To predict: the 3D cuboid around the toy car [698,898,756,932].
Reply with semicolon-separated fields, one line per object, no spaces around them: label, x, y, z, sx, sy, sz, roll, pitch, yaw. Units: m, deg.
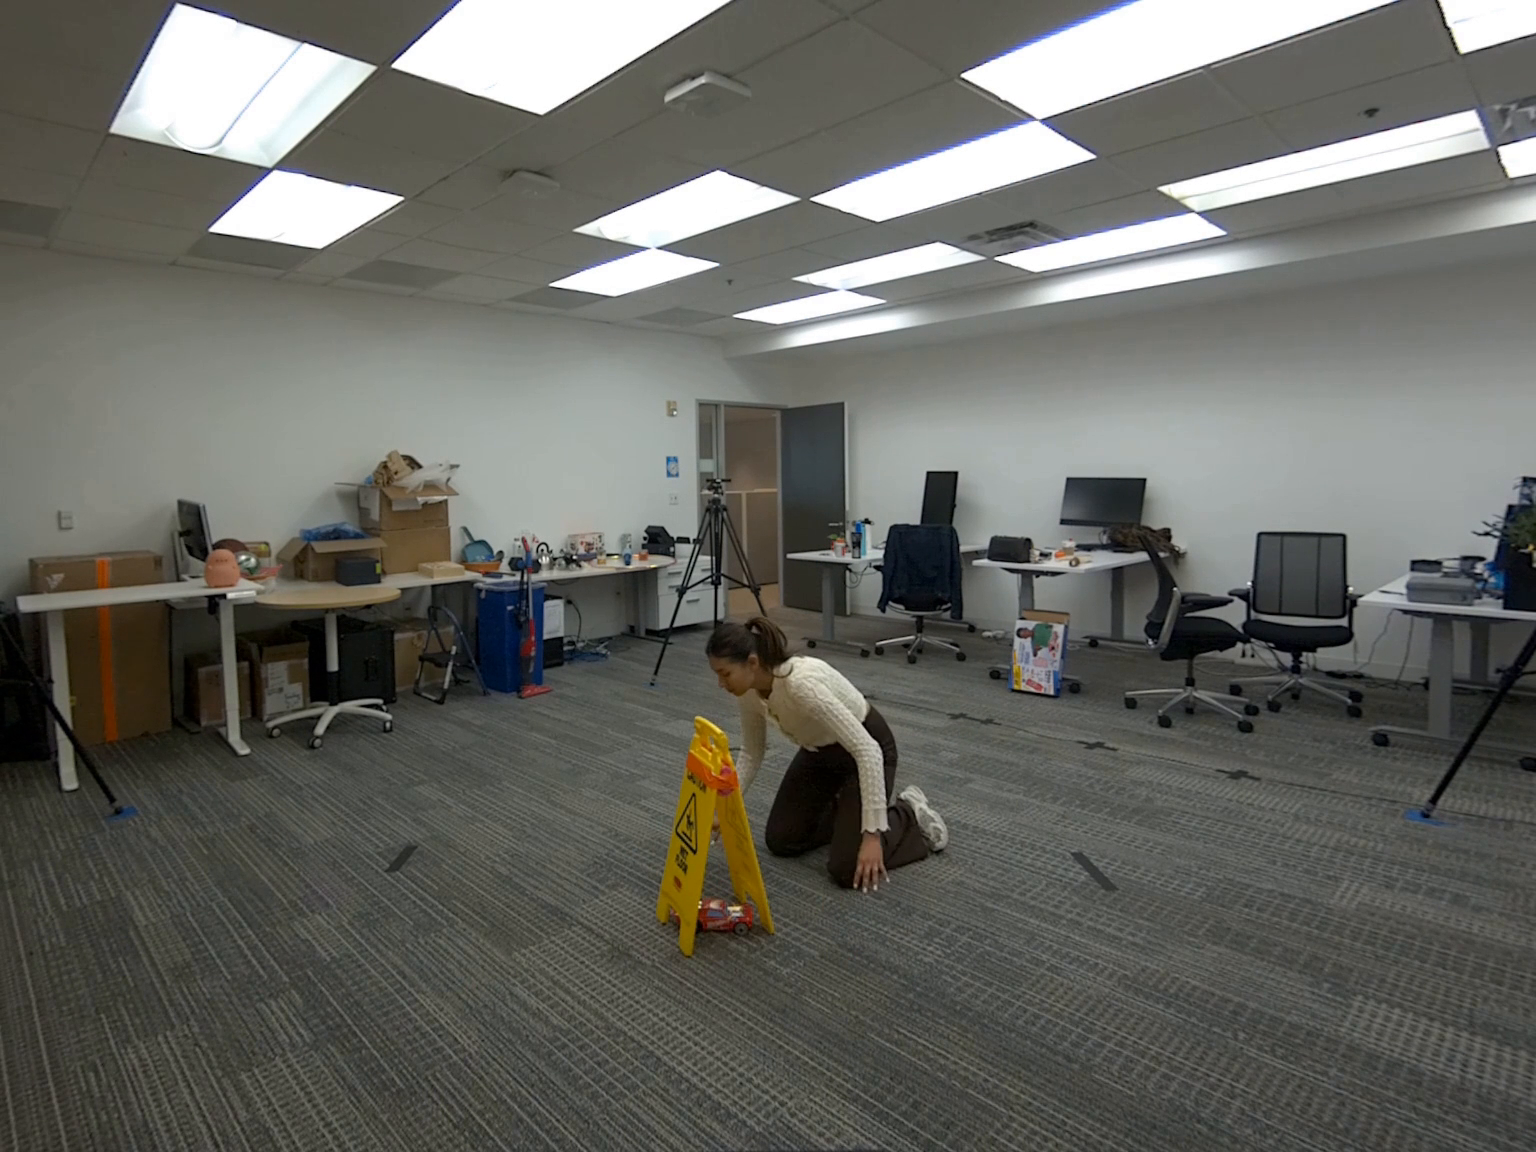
toy car;-0.175;1.059;2.681;0.255;0.083;0.130;10;5;3
